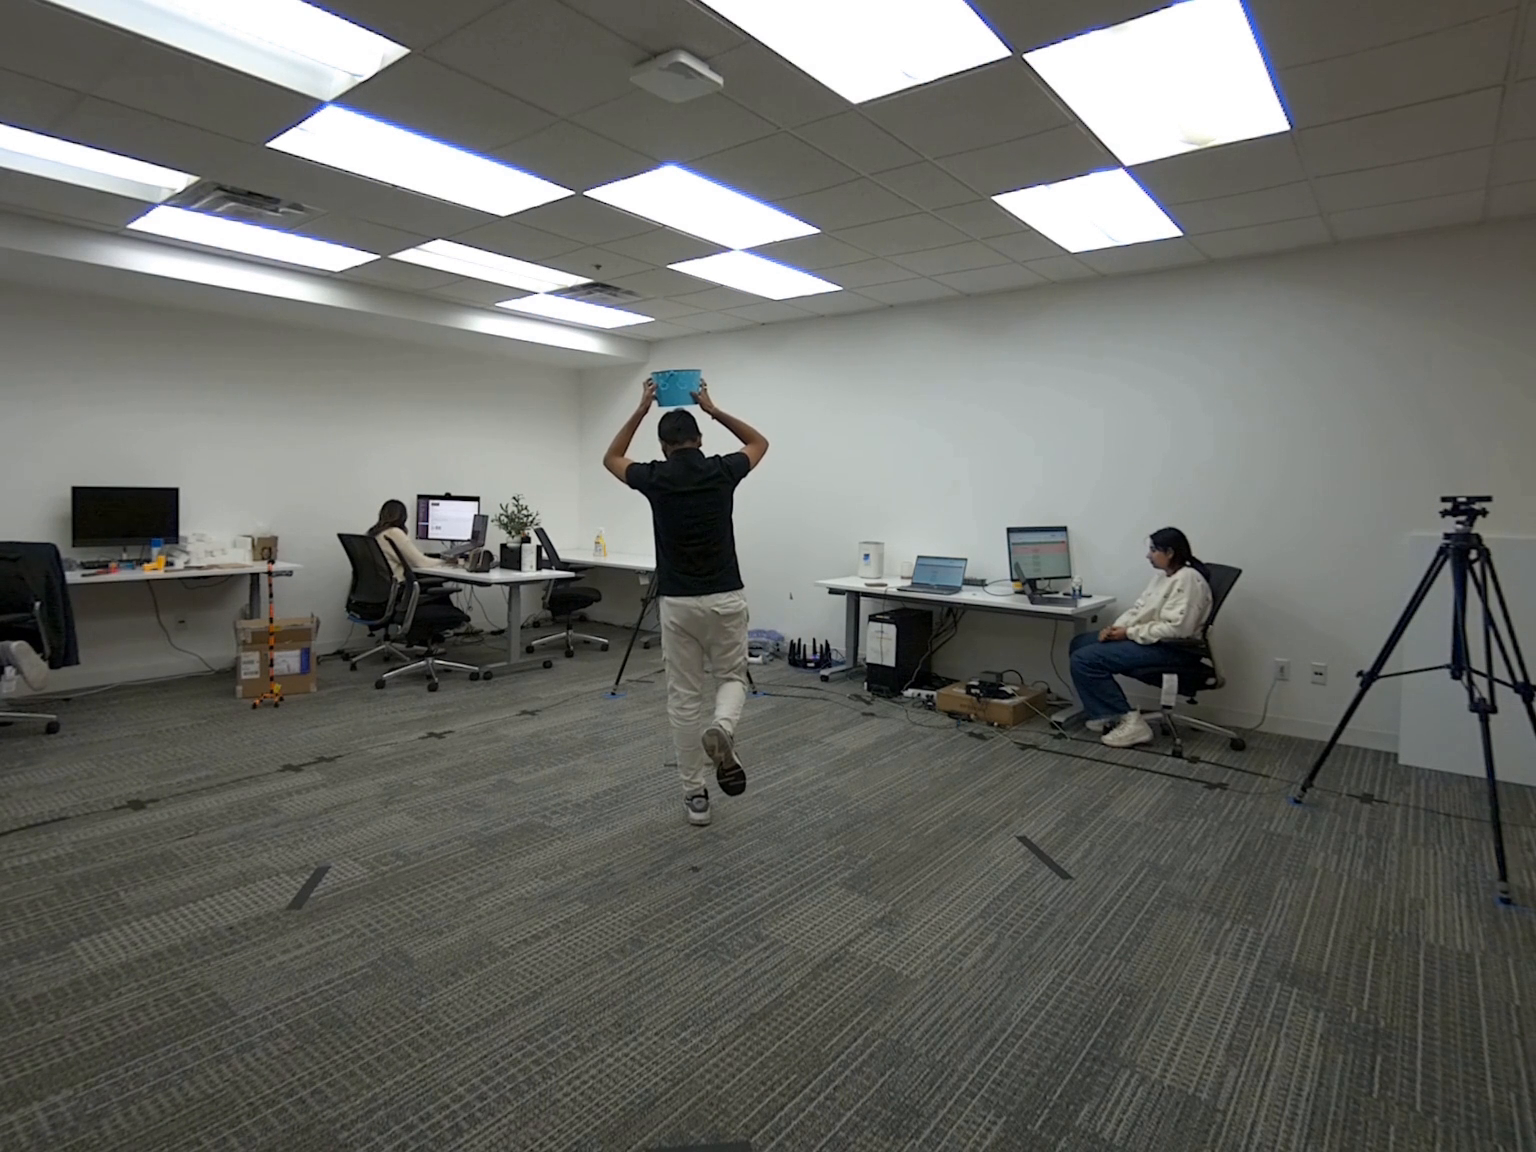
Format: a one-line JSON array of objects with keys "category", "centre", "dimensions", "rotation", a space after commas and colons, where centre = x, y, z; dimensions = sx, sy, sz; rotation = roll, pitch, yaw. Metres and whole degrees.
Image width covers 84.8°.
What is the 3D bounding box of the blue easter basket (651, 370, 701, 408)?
[{"category": "blue easter basket", "centre": [-0.421, -0.838, 3.783], "dimensions": [0.243, 0.155, 0.245], "rotation": [-4, 8, -1]}]
